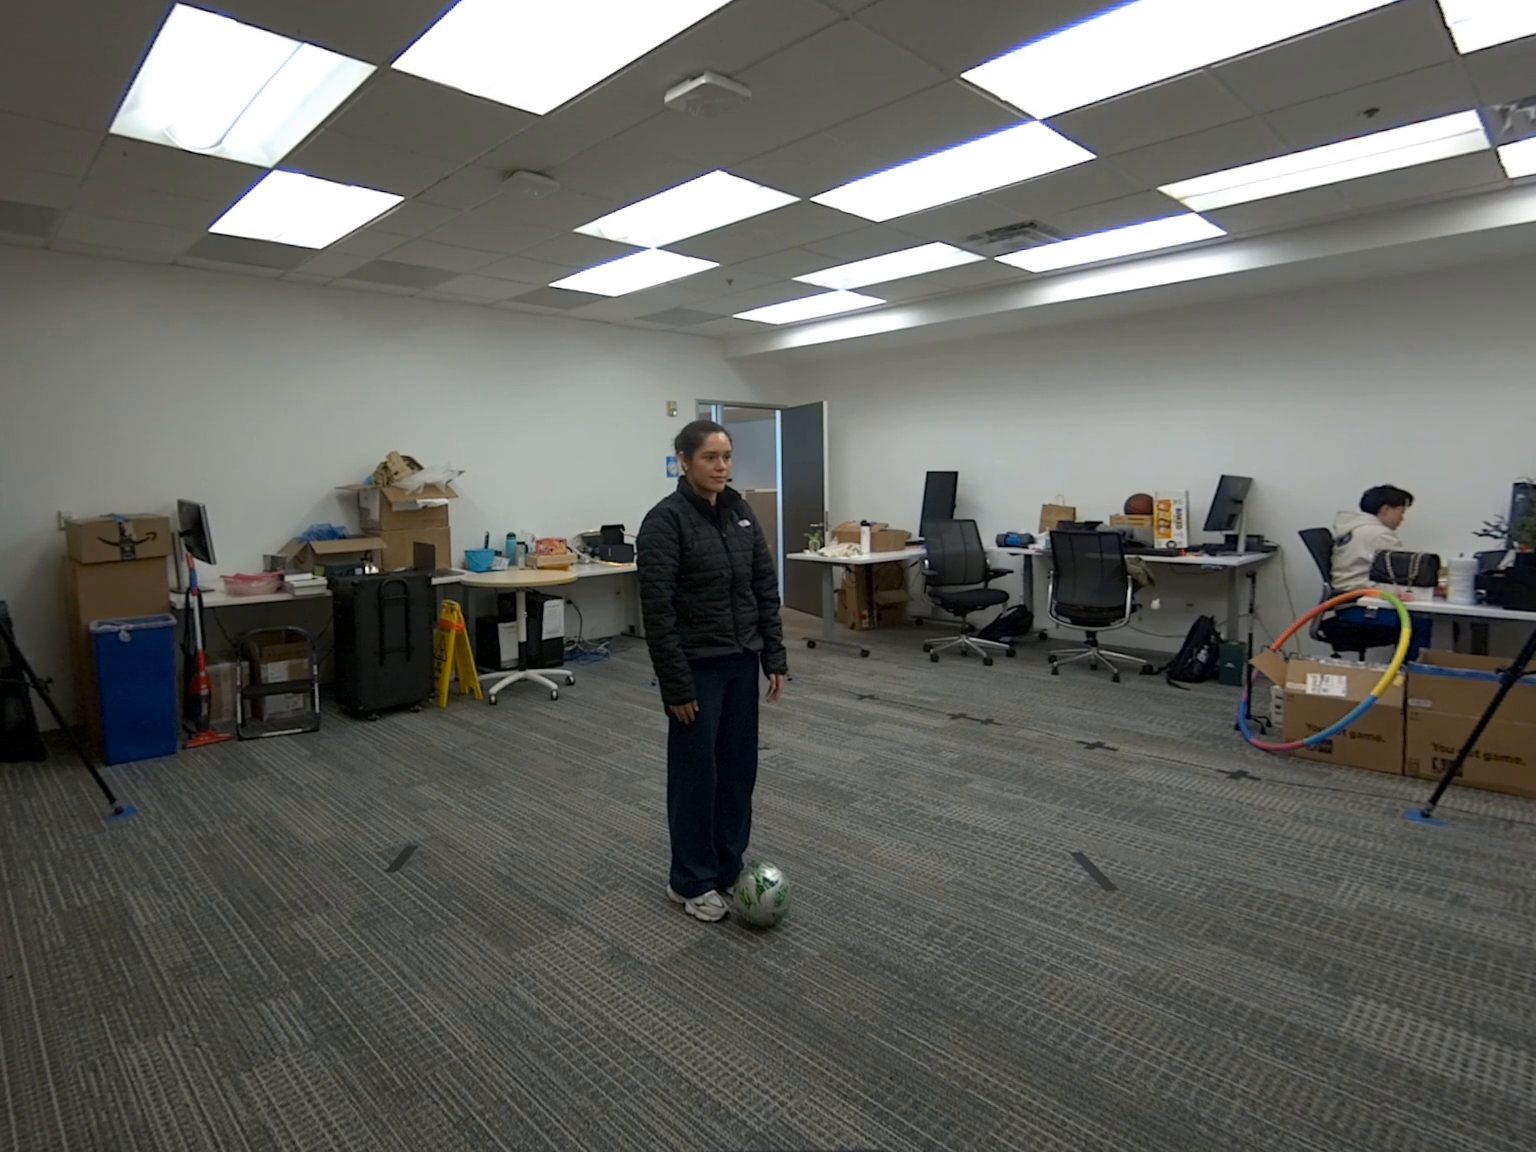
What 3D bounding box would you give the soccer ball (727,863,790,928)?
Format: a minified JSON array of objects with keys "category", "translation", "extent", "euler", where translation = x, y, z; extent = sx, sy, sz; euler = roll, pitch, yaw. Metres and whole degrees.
[{"category":"soccer ball","translation":[-0.016,1.002,2.687],"extent":[0.187,0.187,0.188],"euler":[-1,5,-2]}]
